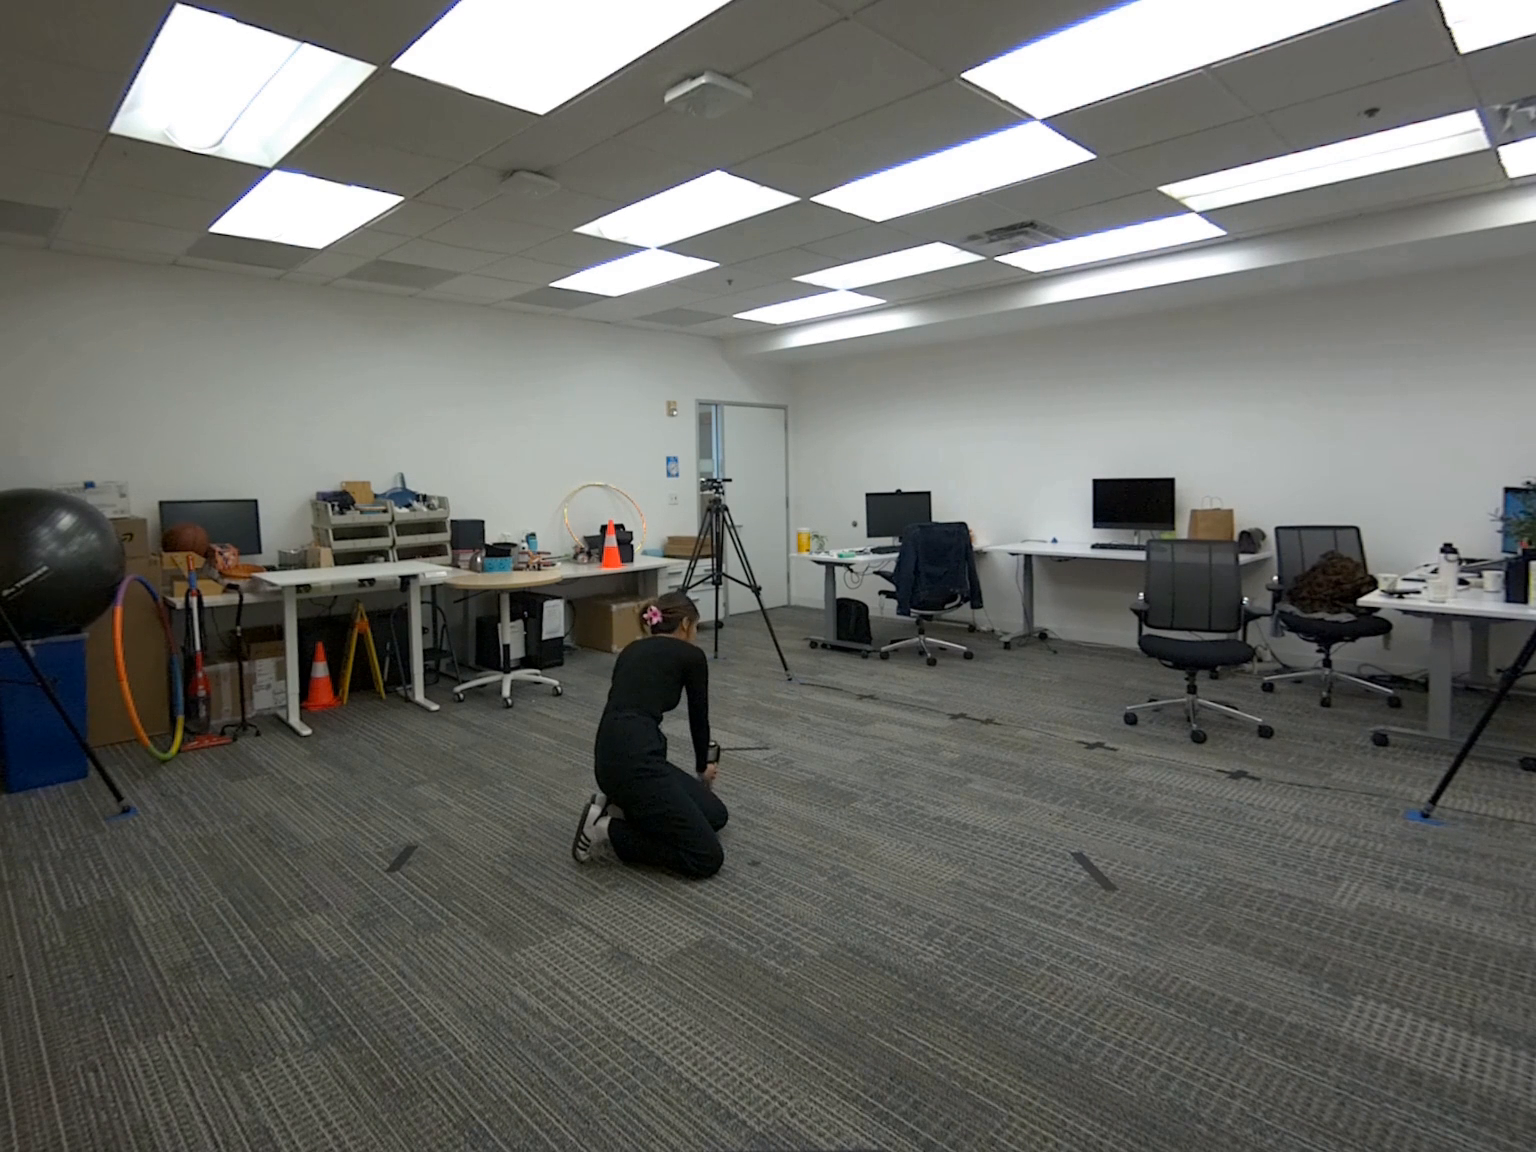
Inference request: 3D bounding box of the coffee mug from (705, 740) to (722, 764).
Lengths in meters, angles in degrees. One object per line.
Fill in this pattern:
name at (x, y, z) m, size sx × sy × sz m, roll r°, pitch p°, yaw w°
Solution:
coffee mug at (-0.238, 0.825, 3.742) m, size 0.119 × 0.203 × 0.090 m, roll -1°, pitch 1°, yaw -34°
